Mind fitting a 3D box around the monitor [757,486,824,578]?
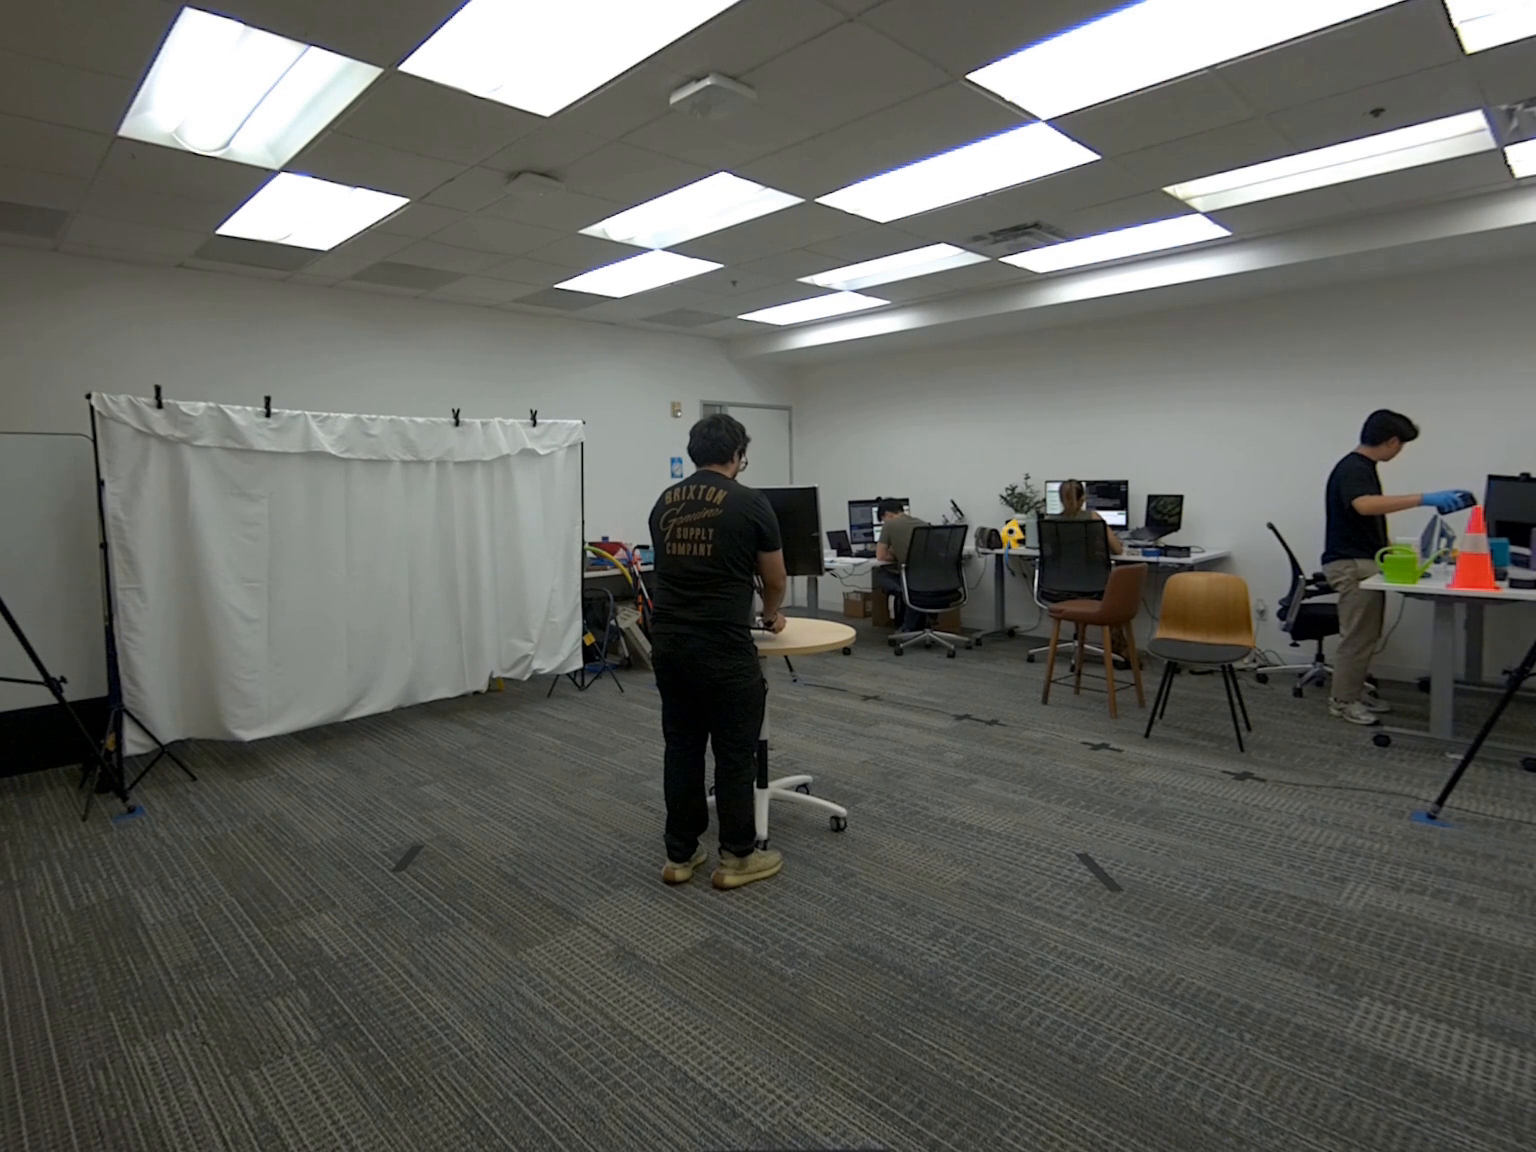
[{"bbox_3d":[-0.073,-0.069,3.291,0.576,0.548,0.208,1,11,20],"label":"monitor"}]
